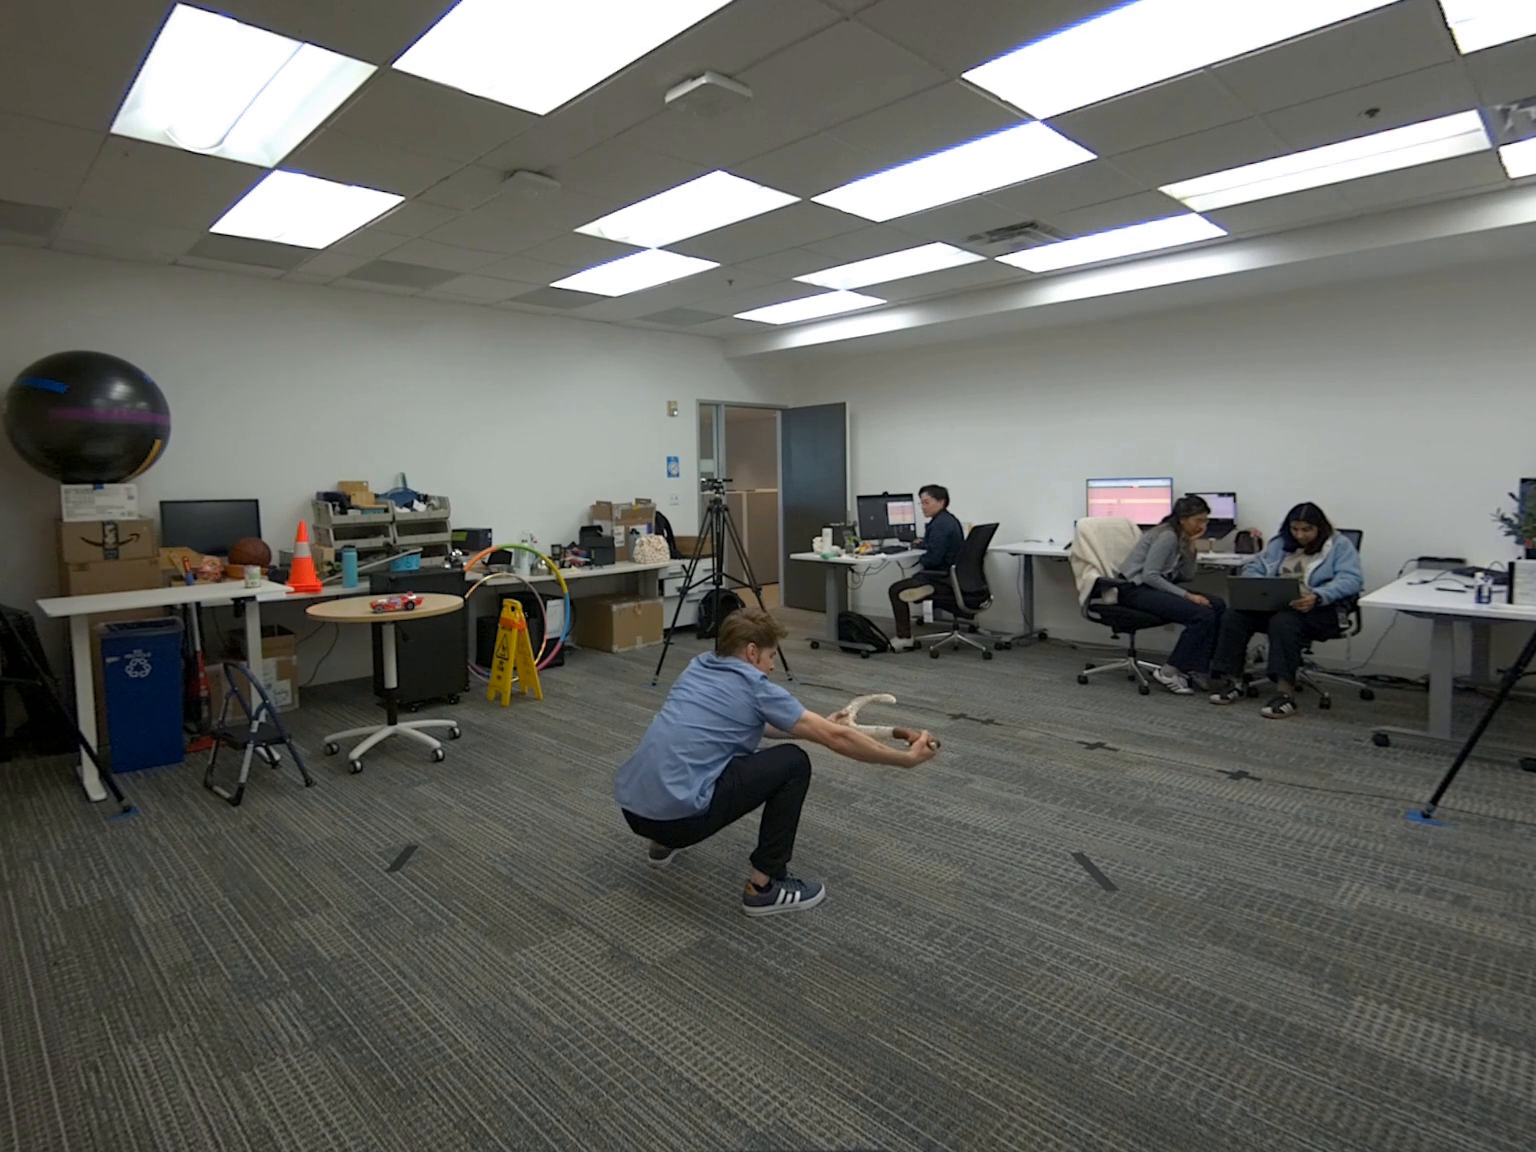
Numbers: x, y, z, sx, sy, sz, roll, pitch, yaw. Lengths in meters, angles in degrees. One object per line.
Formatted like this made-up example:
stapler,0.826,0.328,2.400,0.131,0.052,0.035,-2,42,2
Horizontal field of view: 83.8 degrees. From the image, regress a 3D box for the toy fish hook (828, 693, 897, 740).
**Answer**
toy fish hook,0.438,0.524,3.088,0.224,0.047,0.521,-45,26,-26
